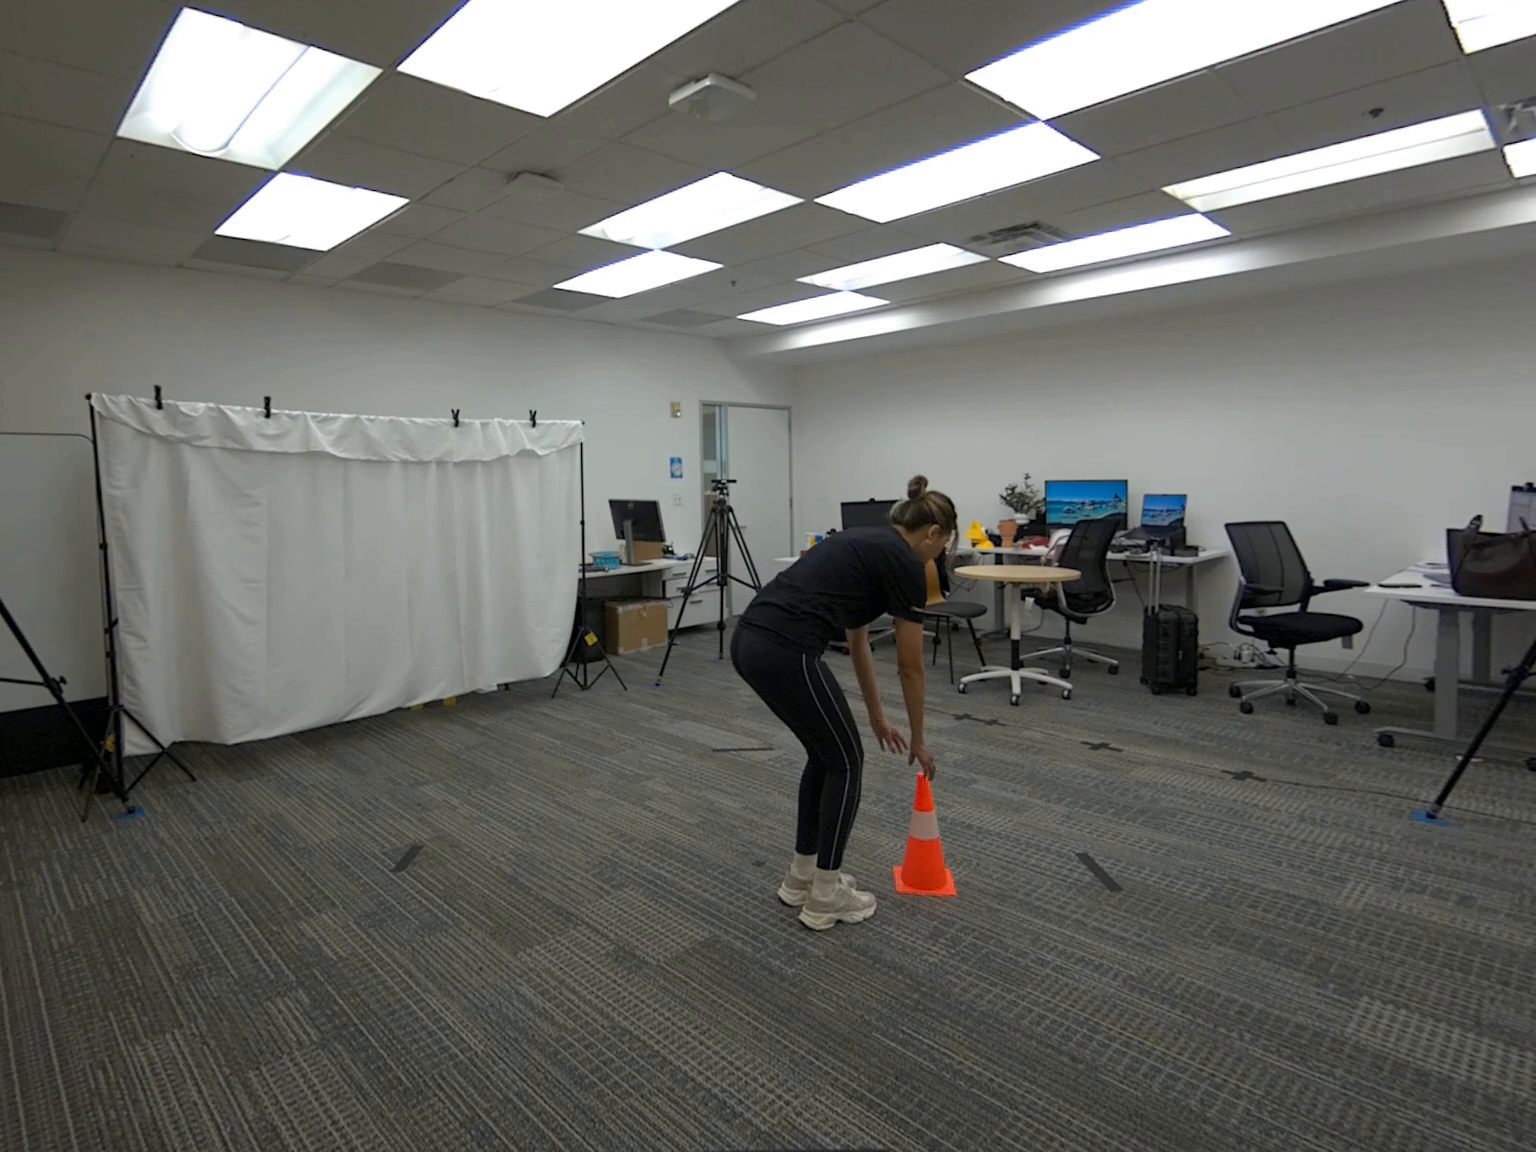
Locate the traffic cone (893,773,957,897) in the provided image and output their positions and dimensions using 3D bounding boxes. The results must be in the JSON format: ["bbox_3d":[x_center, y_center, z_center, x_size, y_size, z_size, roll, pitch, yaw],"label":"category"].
[{"bbox_3d":[0.538,0.868,2.937,0.205,0.382,0.204,-3,4,7],"label":"traffic cone"}]
